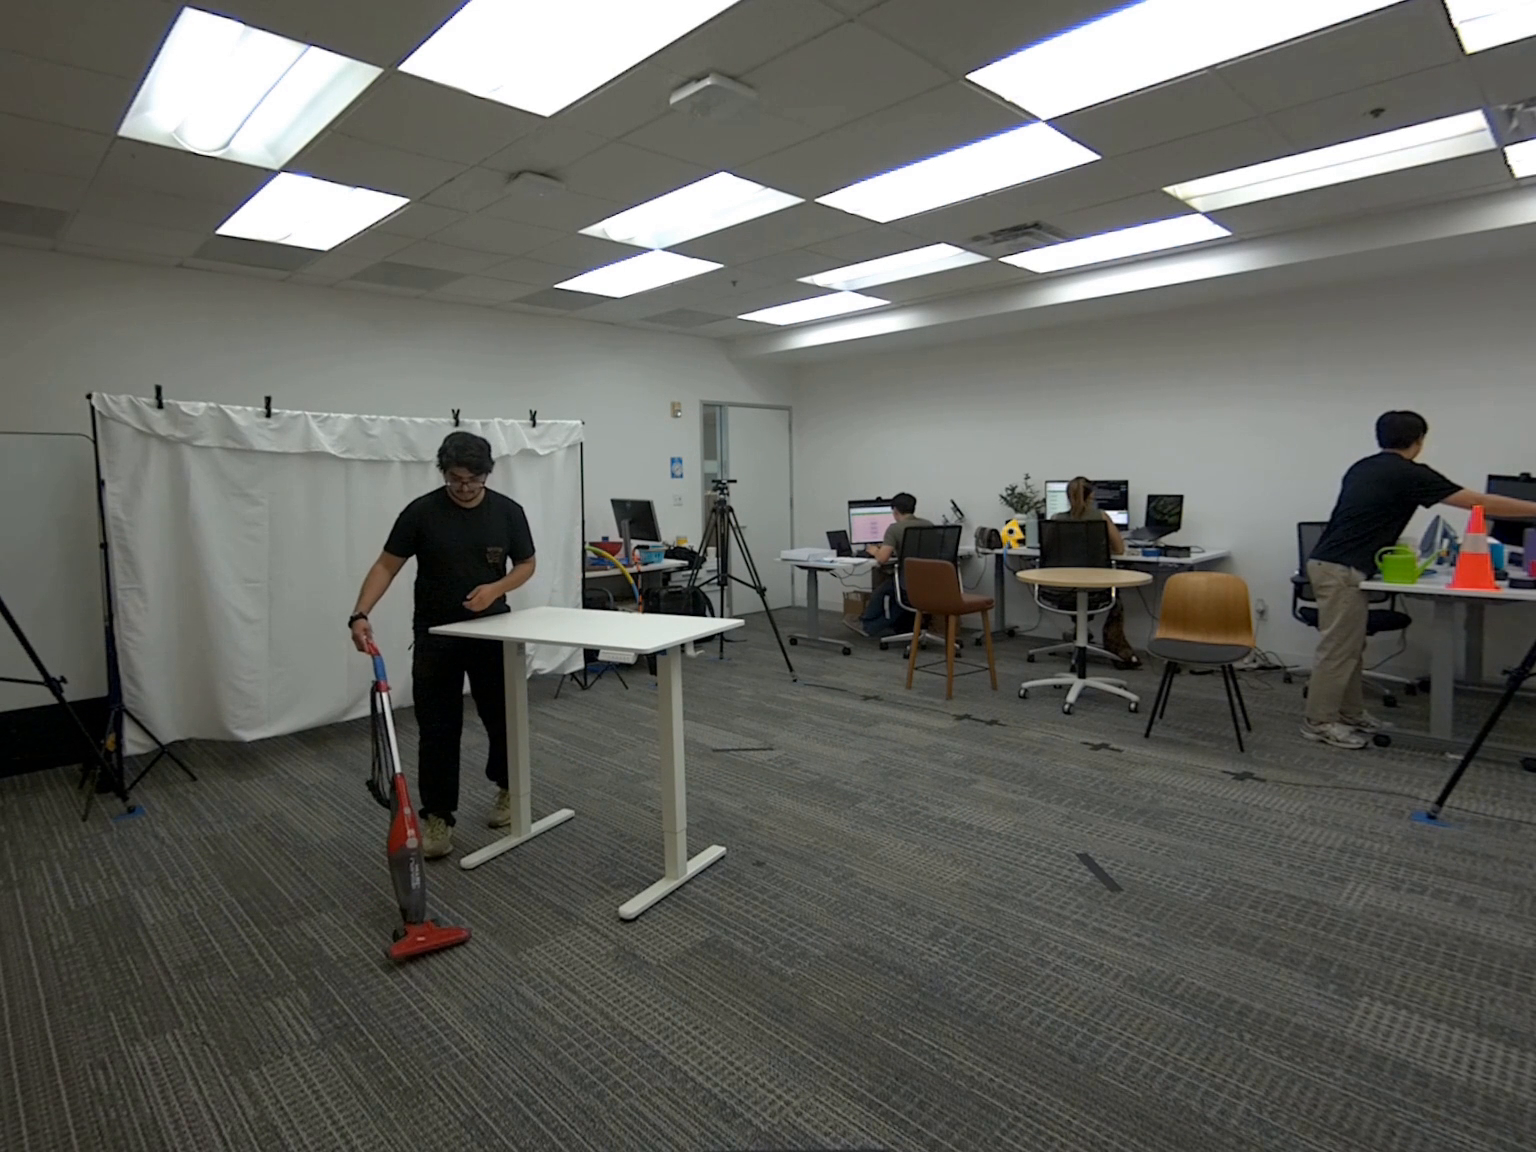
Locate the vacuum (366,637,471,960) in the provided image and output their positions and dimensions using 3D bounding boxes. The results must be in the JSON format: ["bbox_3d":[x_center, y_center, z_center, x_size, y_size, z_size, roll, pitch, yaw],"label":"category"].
[{"bbox_3d":[-1.238,0.679,2.827,0.245,1.081,0.144,4,-38,-43],"label":"vacuum"}]
